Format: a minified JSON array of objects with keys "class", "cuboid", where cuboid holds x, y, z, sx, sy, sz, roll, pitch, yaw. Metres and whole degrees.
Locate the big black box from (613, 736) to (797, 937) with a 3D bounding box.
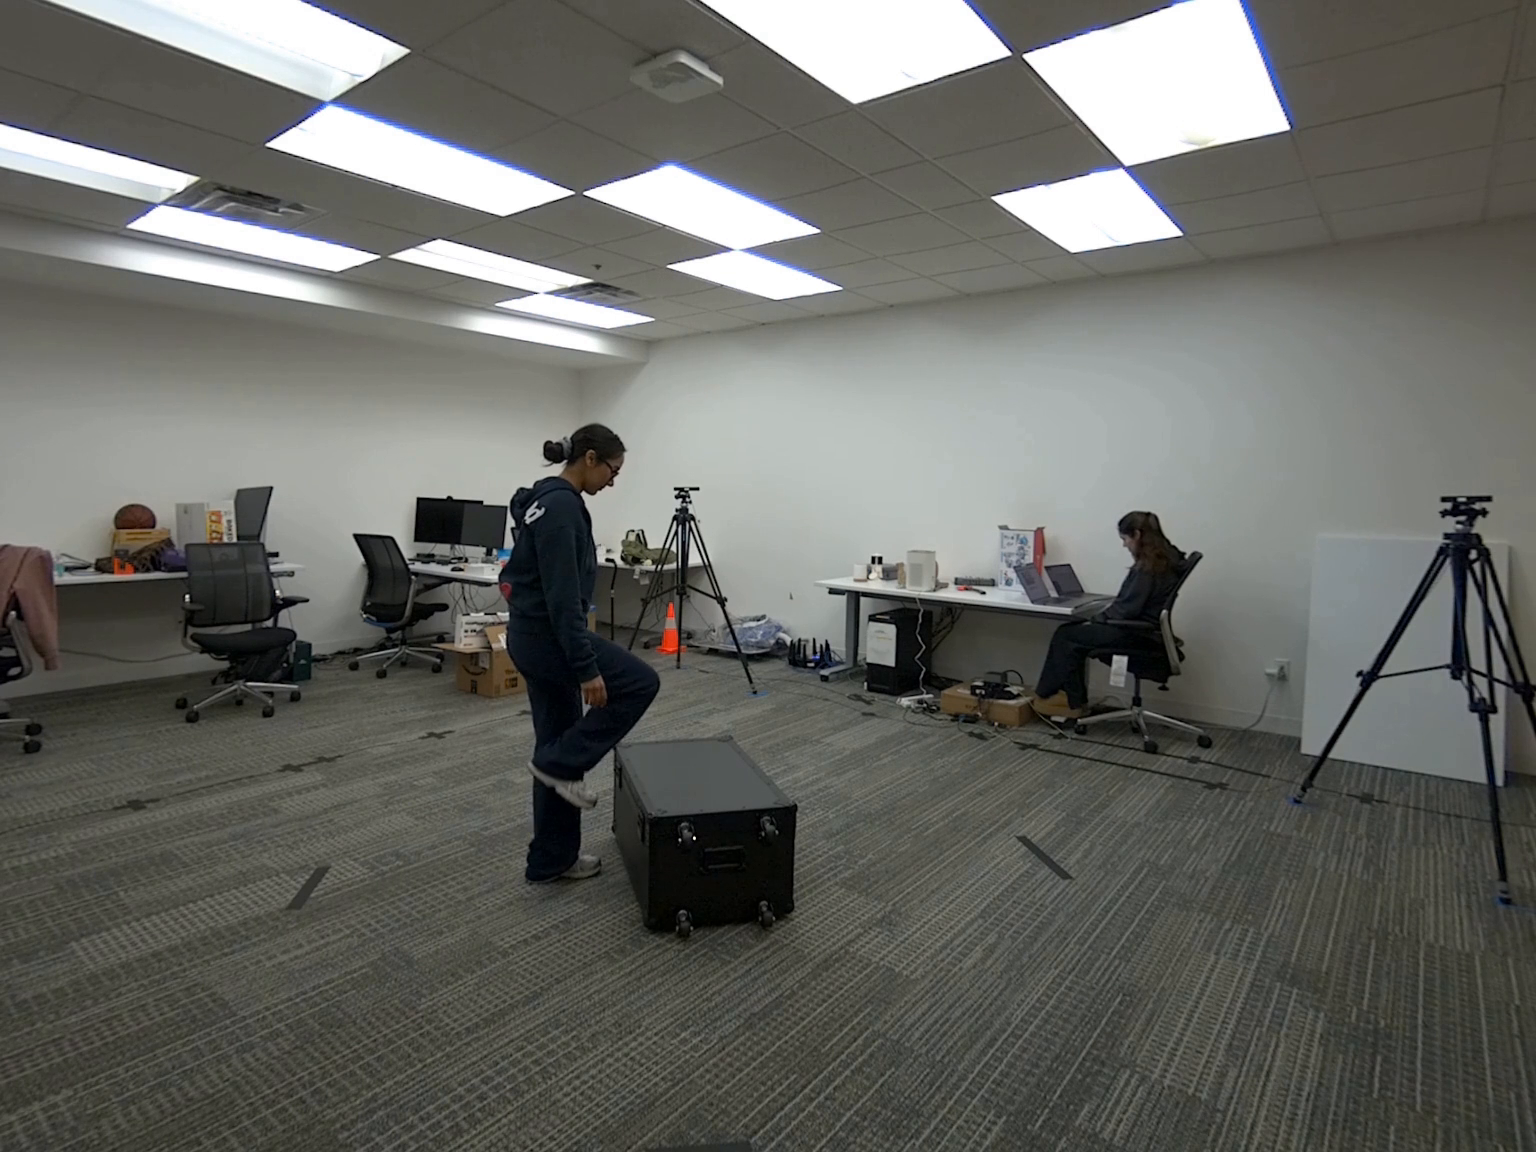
[{"class":"big black box","cuboid":[-0.263,0.883,3.017,0.512,0.395,0.880,-1,5,-18]}]
